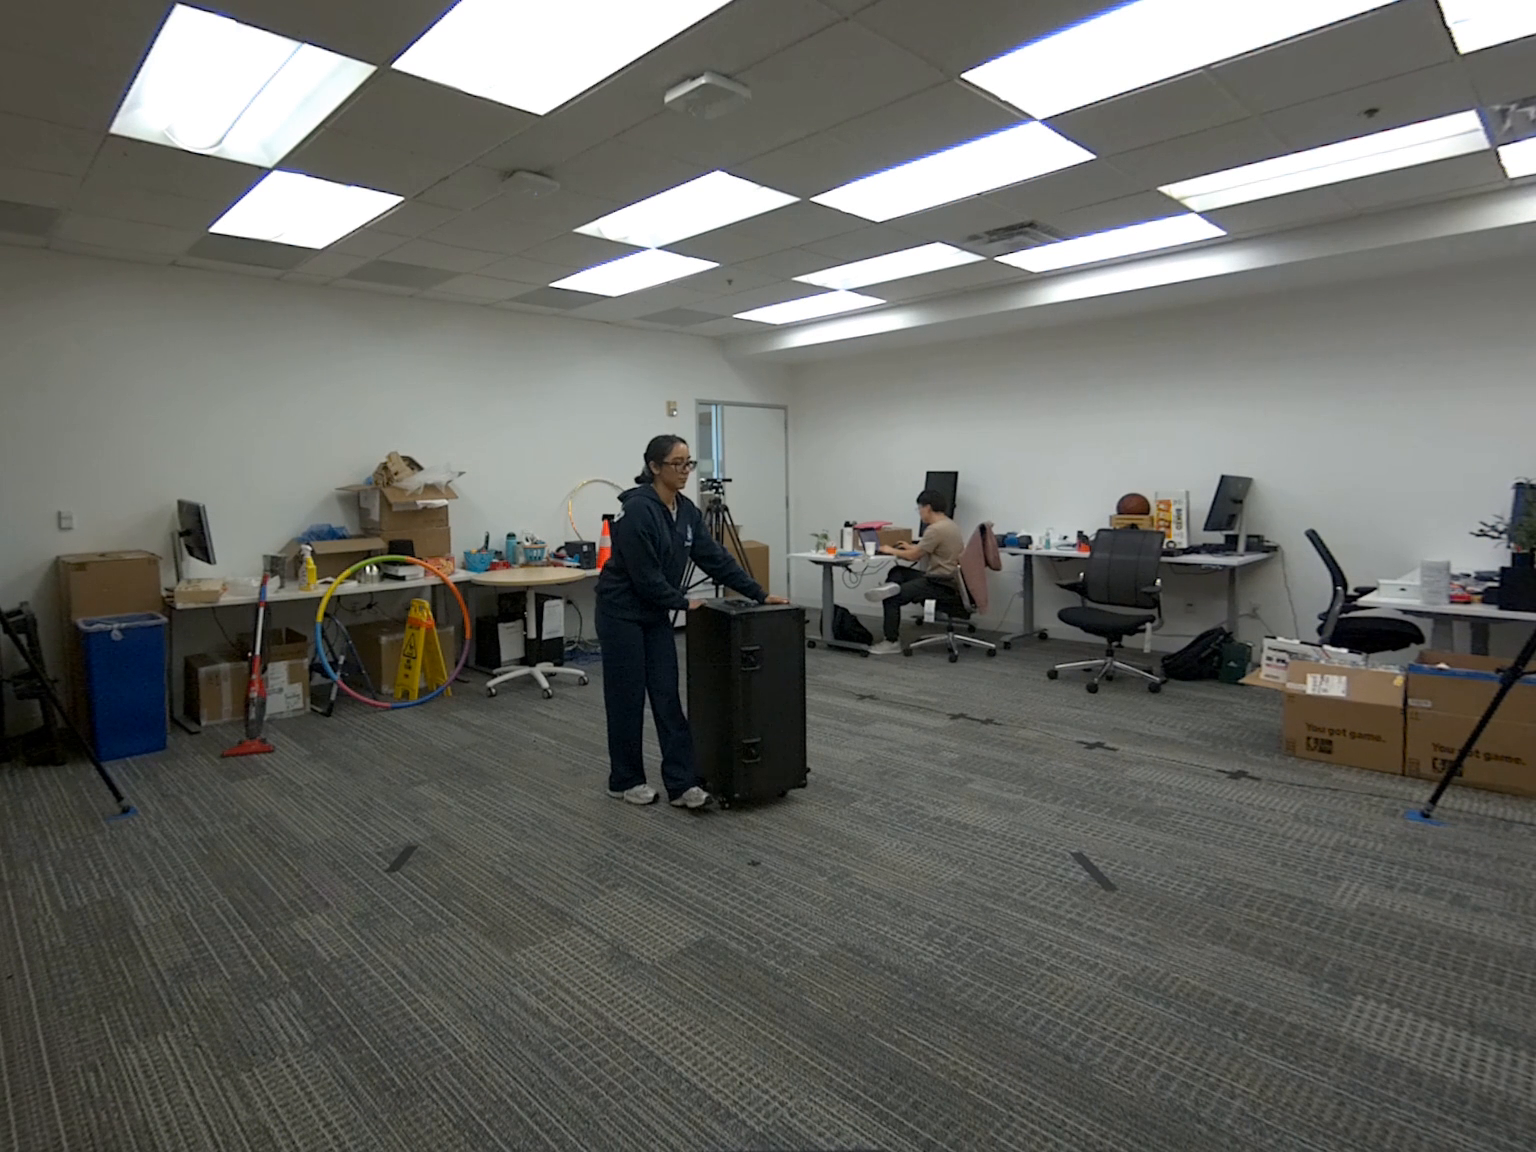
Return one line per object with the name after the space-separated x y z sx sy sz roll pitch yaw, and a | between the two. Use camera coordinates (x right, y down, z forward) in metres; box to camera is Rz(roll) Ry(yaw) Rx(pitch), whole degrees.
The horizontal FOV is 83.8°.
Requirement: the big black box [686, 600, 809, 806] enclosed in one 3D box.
-0.099 0.545 3.797 0.387 0.859 0.535 -2 4 -28 | big black box
